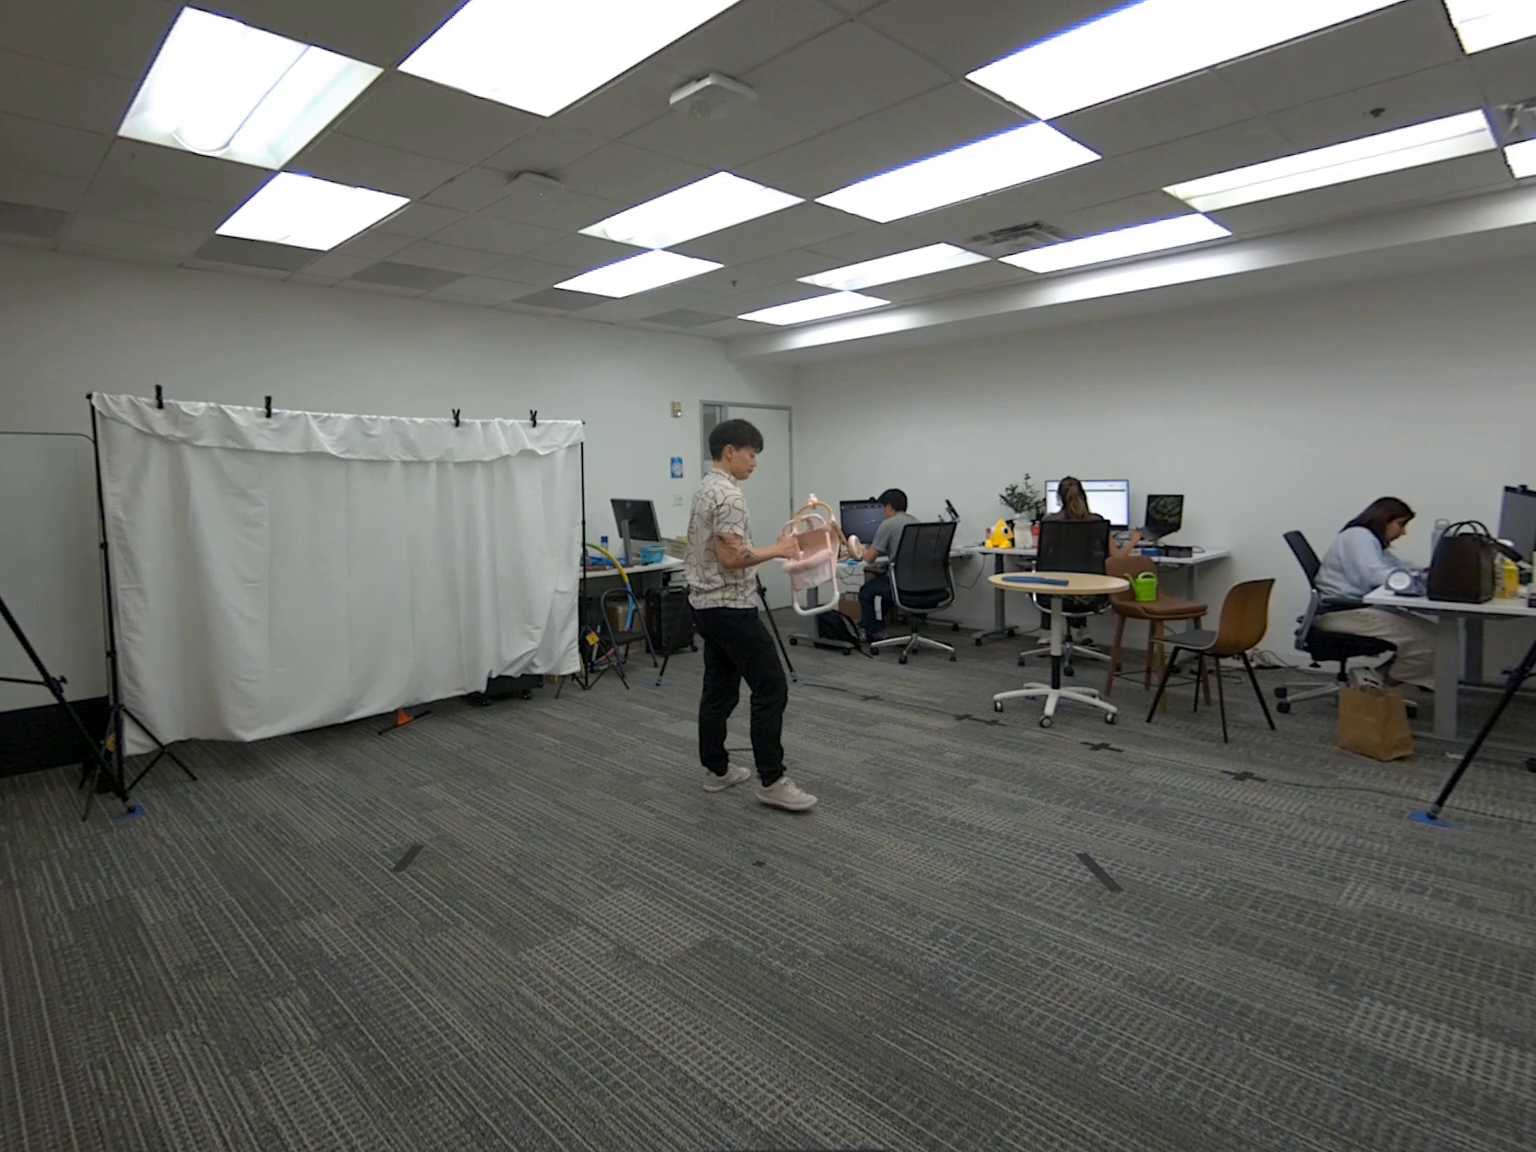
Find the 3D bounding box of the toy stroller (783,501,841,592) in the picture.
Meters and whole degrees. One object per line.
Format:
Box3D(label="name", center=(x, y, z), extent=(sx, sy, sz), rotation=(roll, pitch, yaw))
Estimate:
Box3D(label="toy stroller", center=(0.208, -0.111, 3.687), extent=(0.286, 0.333, 0.539), rotation=(-12, 24, 24))
